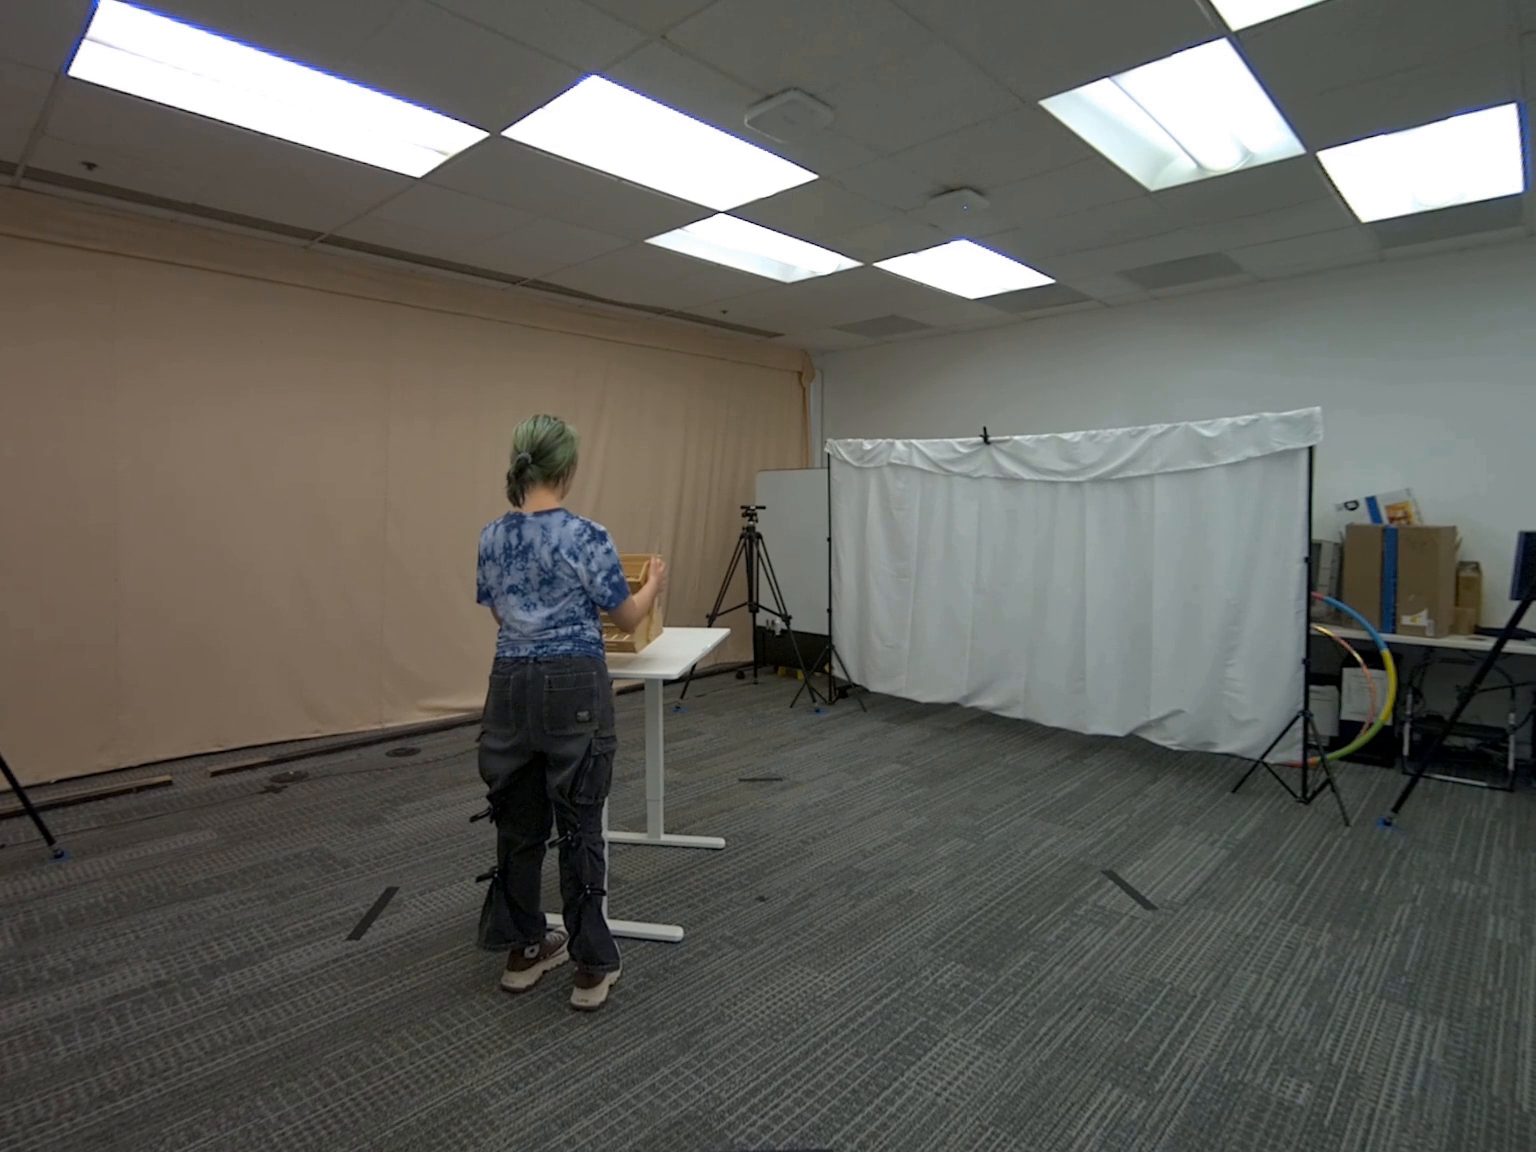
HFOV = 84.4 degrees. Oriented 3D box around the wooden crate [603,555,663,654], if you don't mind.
[{"bbox_3d":[-0.533,0.089,2.763,0.330,0.271,0.299,-1,12,17],"label":"wooden crate"}]
